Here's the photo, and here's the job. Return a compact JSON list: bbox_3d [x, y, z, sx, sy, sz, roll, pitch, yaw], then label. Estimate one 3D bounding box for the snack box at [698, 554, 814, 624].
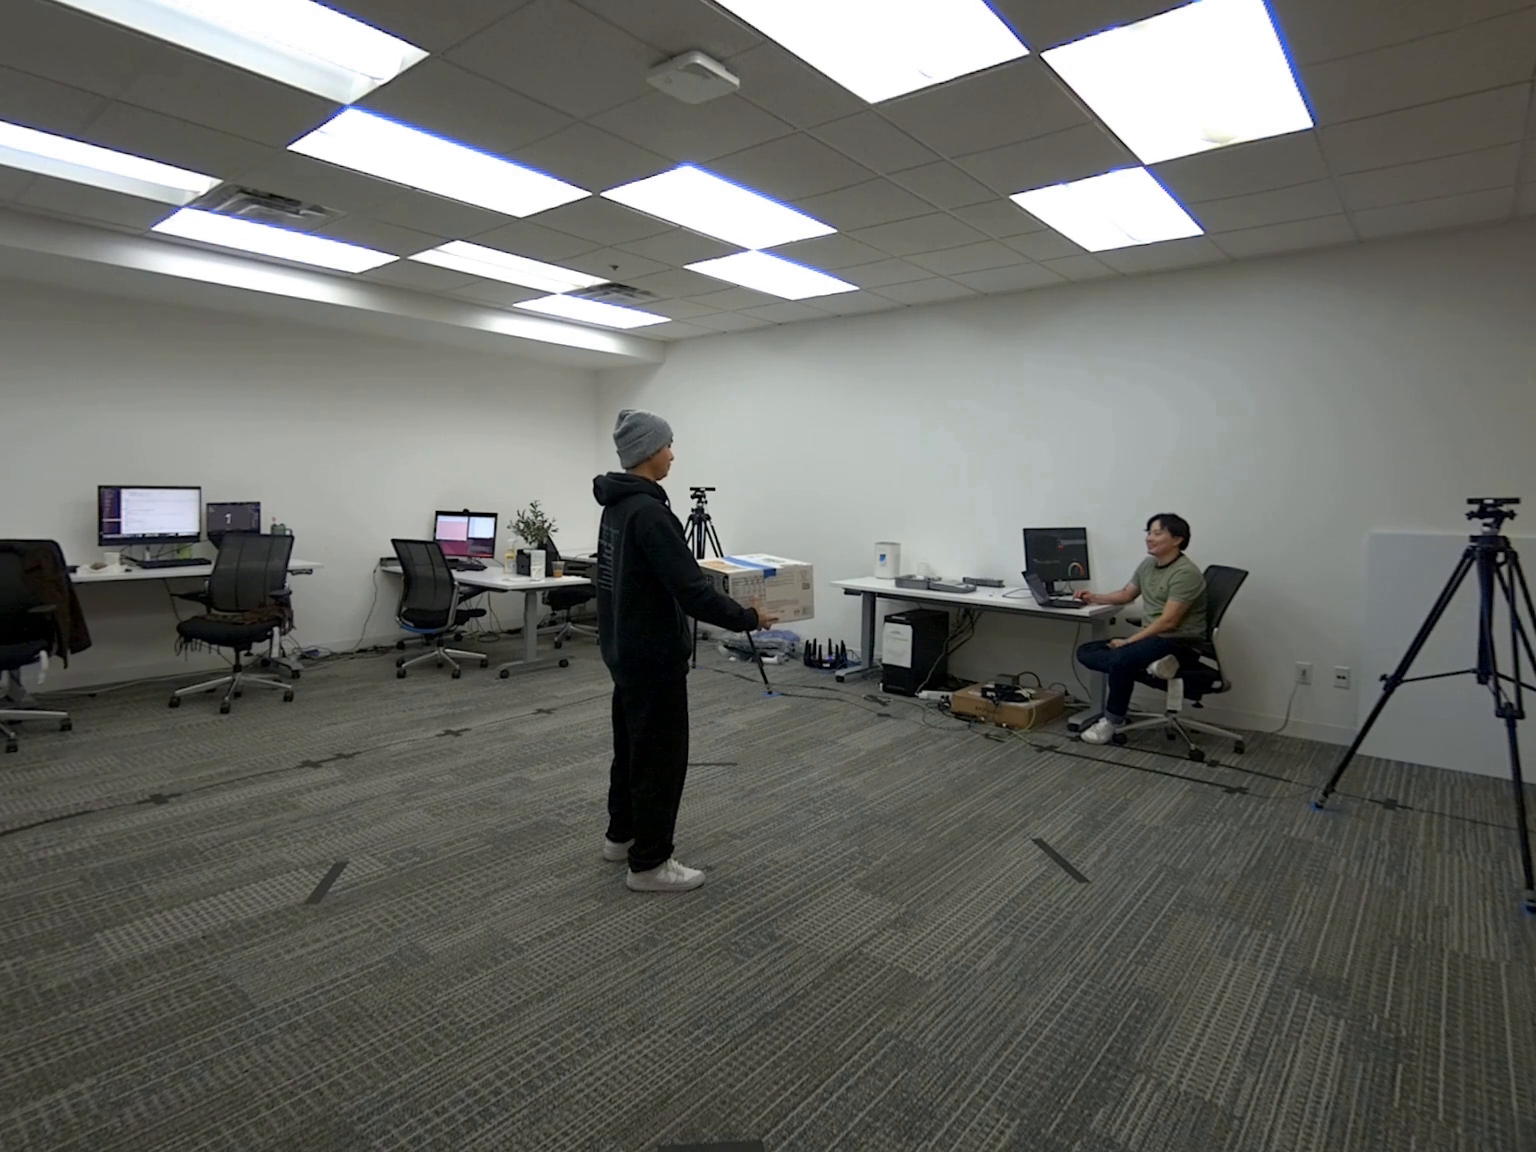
[{"bbox_3d":[-0.086,0.049,3.203,0.333,0.204,0.417,-6,9,-25],"label":"snack box"}]
